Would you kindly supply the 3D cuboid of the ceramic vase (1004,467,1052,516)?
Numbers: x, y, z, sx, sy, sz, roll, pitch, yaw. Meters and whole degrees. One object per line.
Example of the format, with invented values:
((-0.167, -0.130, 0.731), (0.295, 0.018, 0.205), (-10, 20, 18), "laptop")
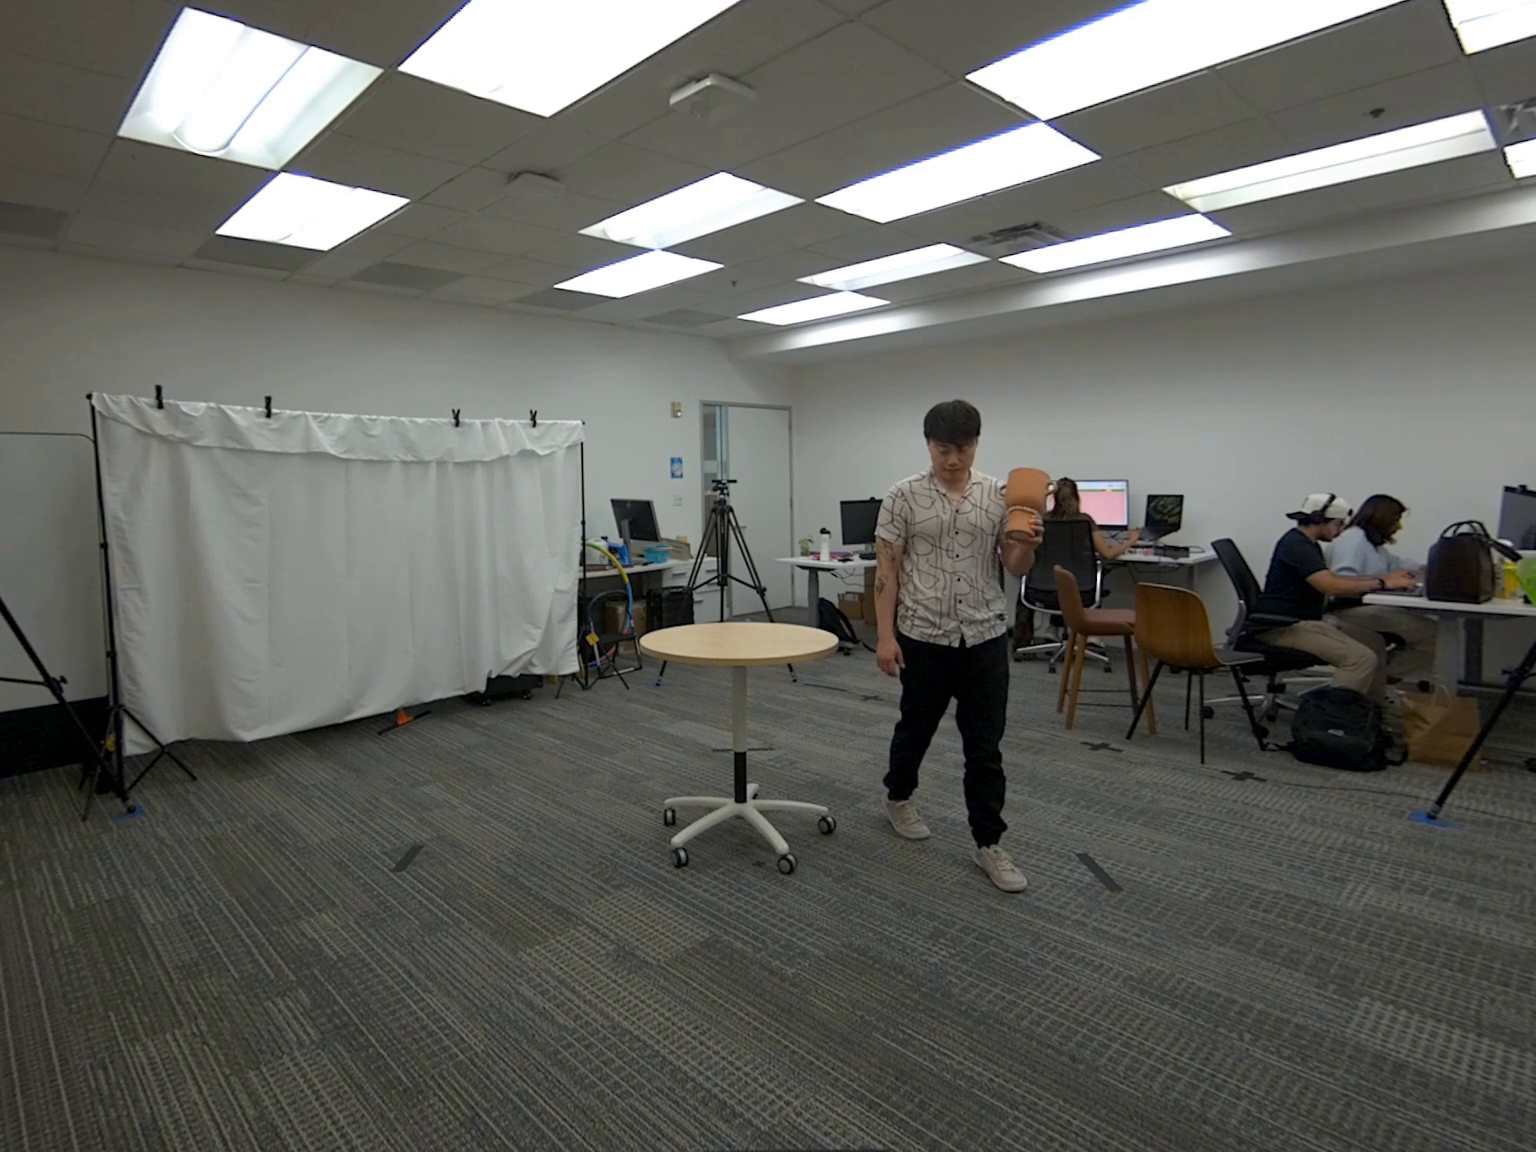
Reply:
((0.864, -0.232, 2.821), (0.134, 0.222, 0.158), (17, -17, -6), "ceramic vase")
